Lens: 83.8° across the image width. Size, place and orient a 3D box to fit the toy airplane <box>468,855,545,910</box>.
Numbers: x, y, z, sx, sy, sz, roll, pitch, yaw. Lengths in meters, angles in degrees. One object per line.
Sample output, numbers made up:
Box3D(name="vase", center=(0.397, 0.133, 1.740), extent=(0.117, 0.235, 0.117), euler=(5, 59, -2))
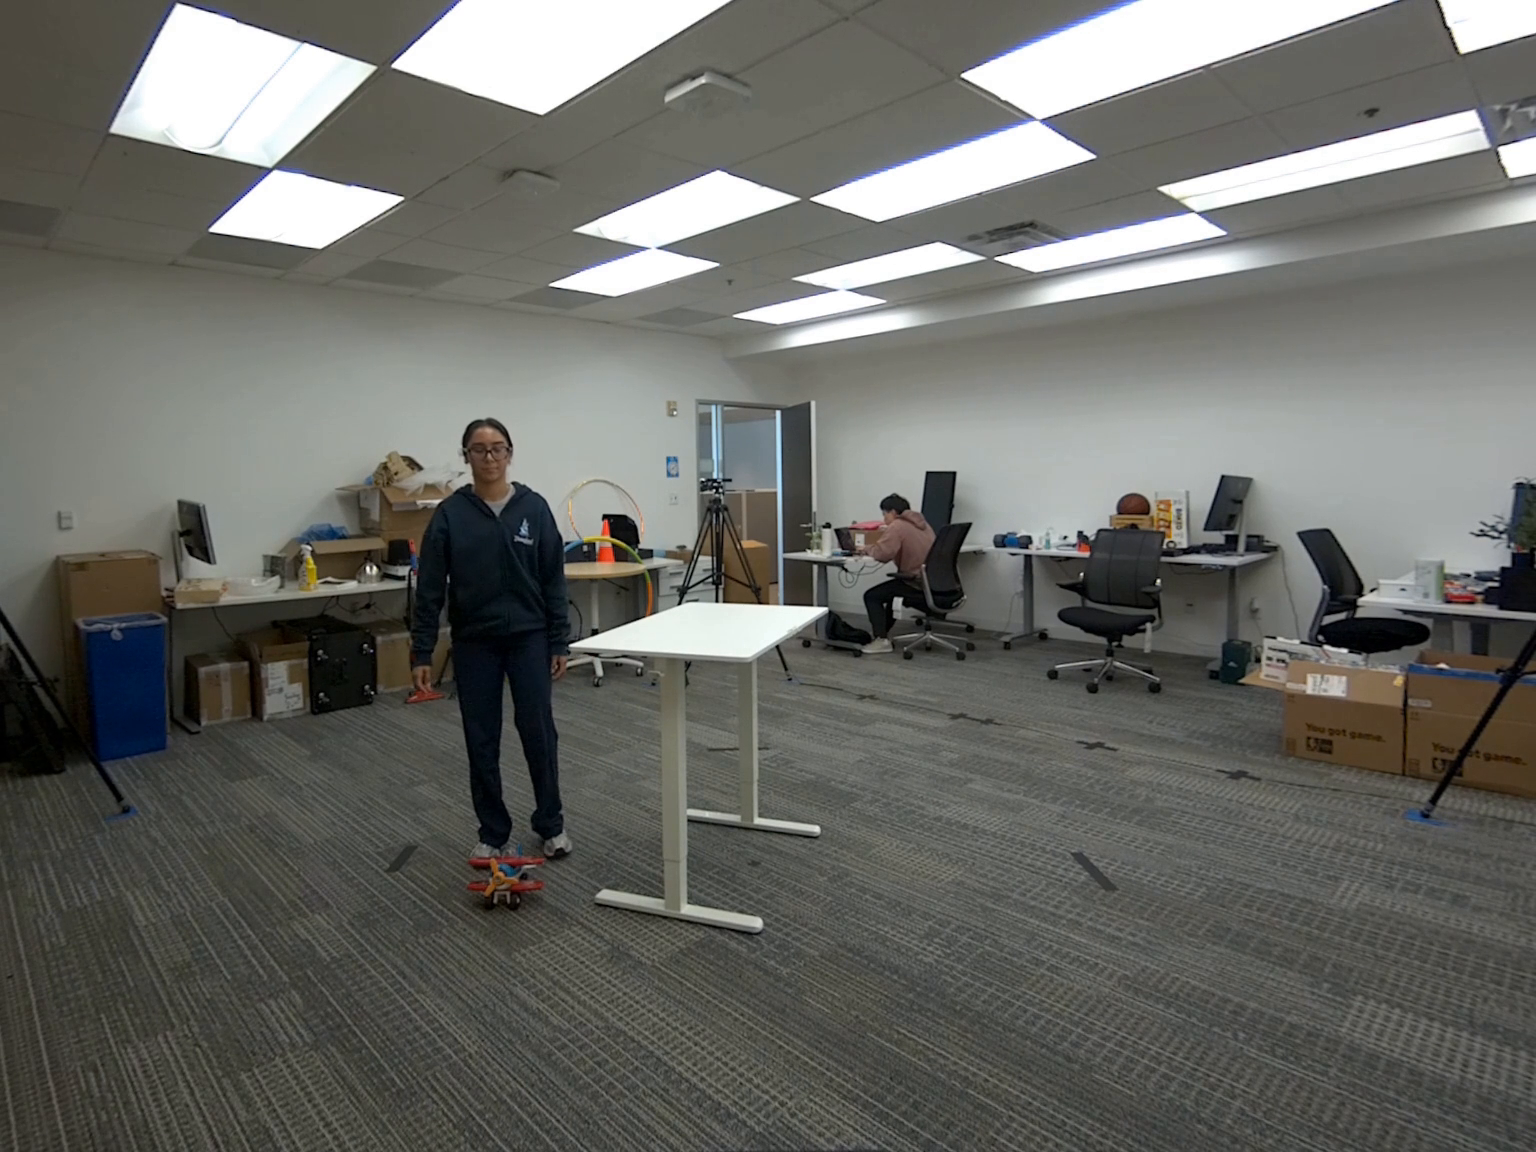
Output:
Box3D(name="toy airplane", center=(-0.905, 1.022, 2.903), extent=(0.244, 0.157, 0.266), euler=(3, -3, -35))
